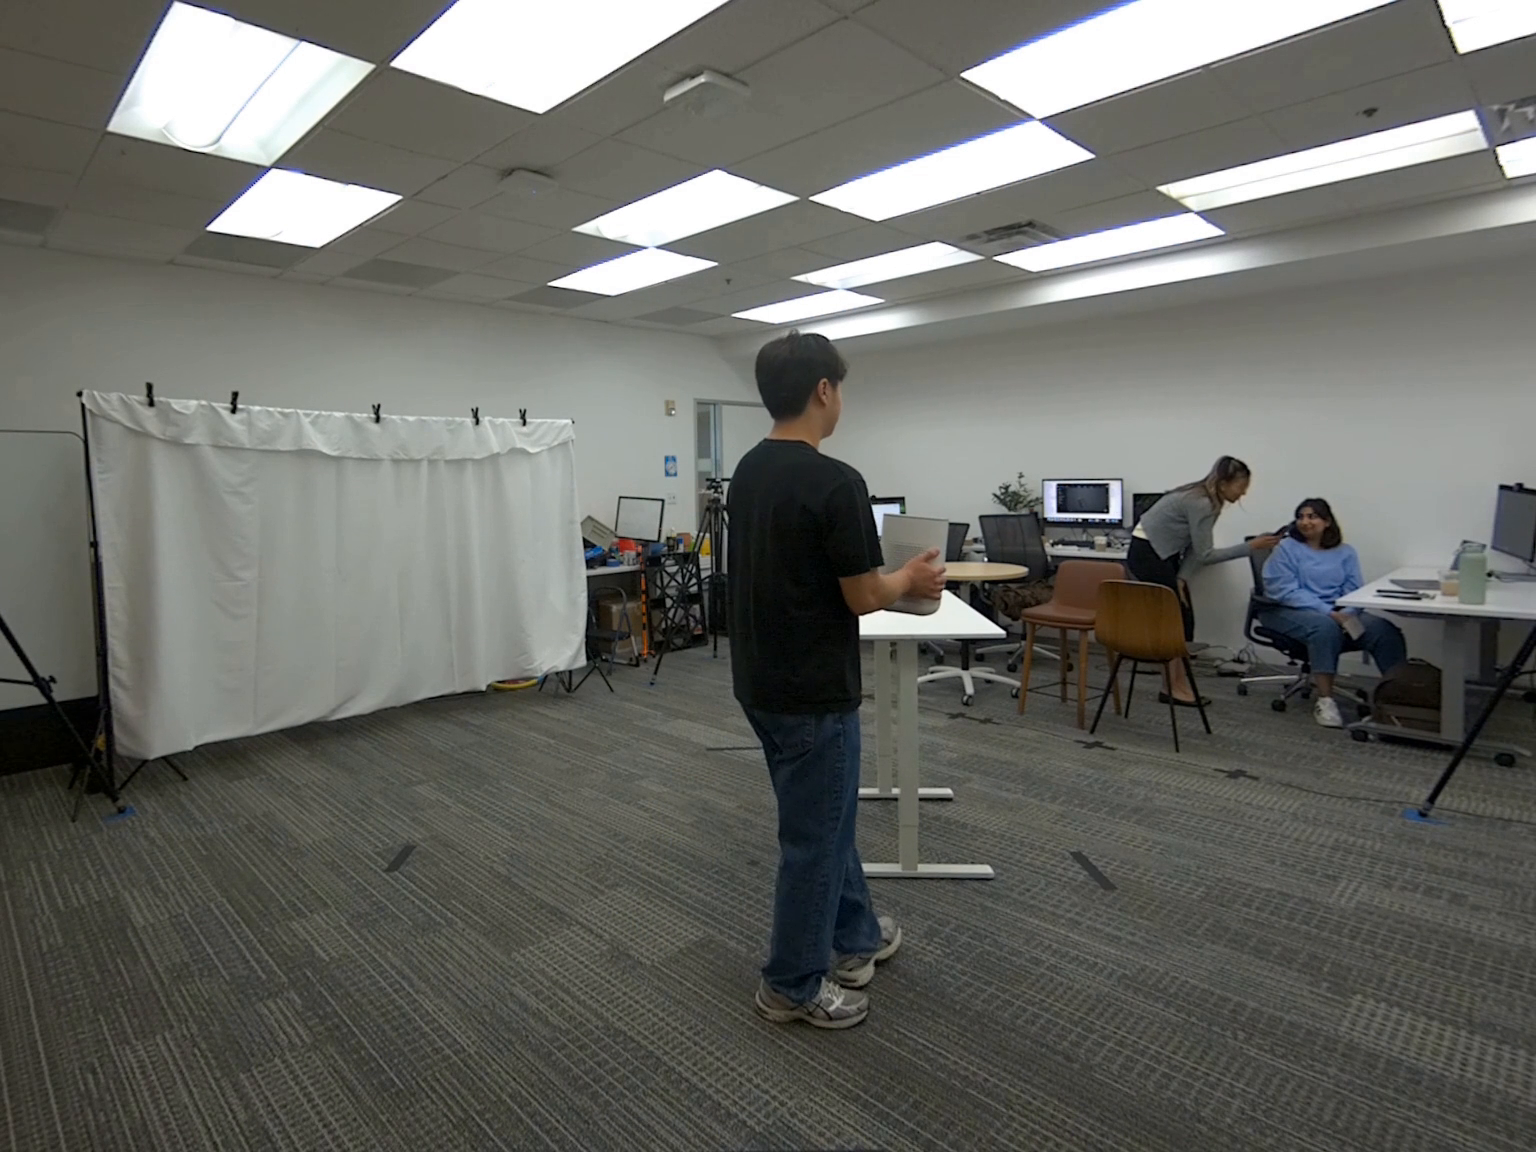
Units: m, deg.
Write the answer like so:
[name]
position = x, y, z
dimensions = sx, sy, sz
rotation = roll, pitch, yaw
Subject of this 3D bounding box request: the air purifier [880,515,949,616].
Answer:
[air purifier]
position = 0.401, -0.033, 2.357
dimensions = 0.174, 0.265, 0.169
rotation = 5, 1, 10
